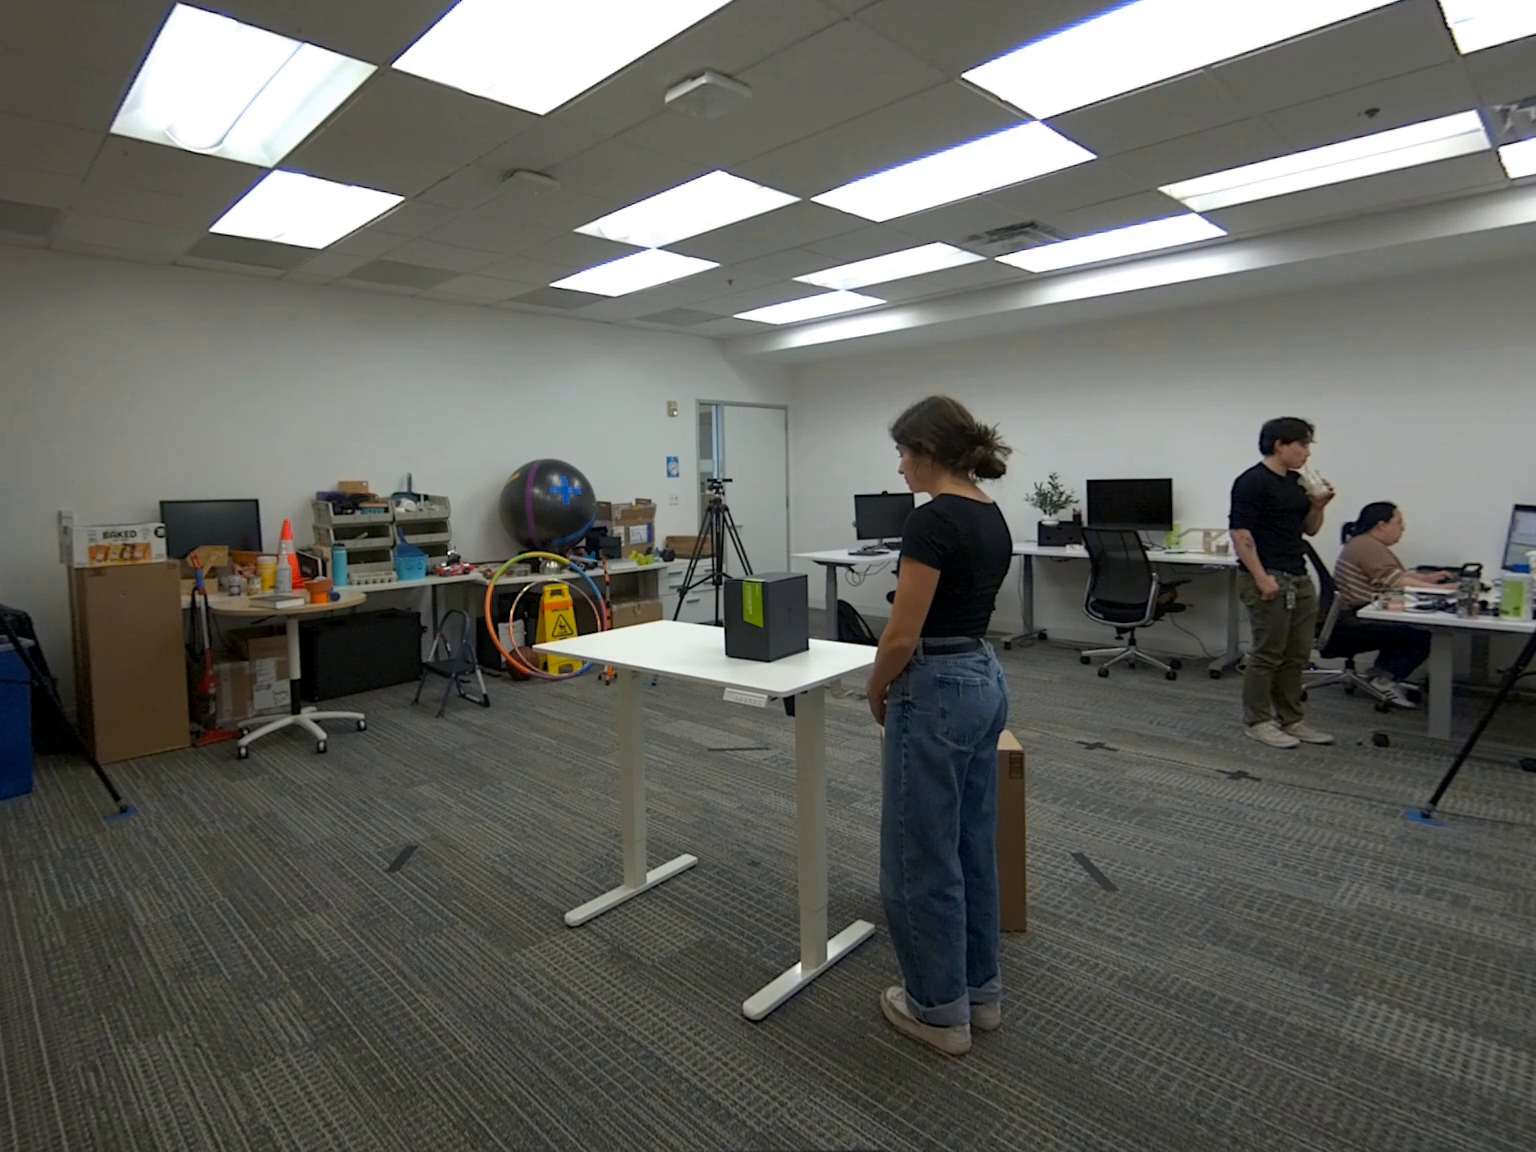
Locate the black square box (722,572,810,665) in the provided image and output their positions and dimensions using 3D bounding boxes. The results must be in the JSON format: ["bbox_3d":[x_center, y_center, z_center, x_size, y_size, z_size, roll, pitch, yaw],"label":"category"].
[{"bbox_3d":[-0.005,0.116,2.510,0.160,0.227,0.212,2,6,35],"label":"black square box"}]
